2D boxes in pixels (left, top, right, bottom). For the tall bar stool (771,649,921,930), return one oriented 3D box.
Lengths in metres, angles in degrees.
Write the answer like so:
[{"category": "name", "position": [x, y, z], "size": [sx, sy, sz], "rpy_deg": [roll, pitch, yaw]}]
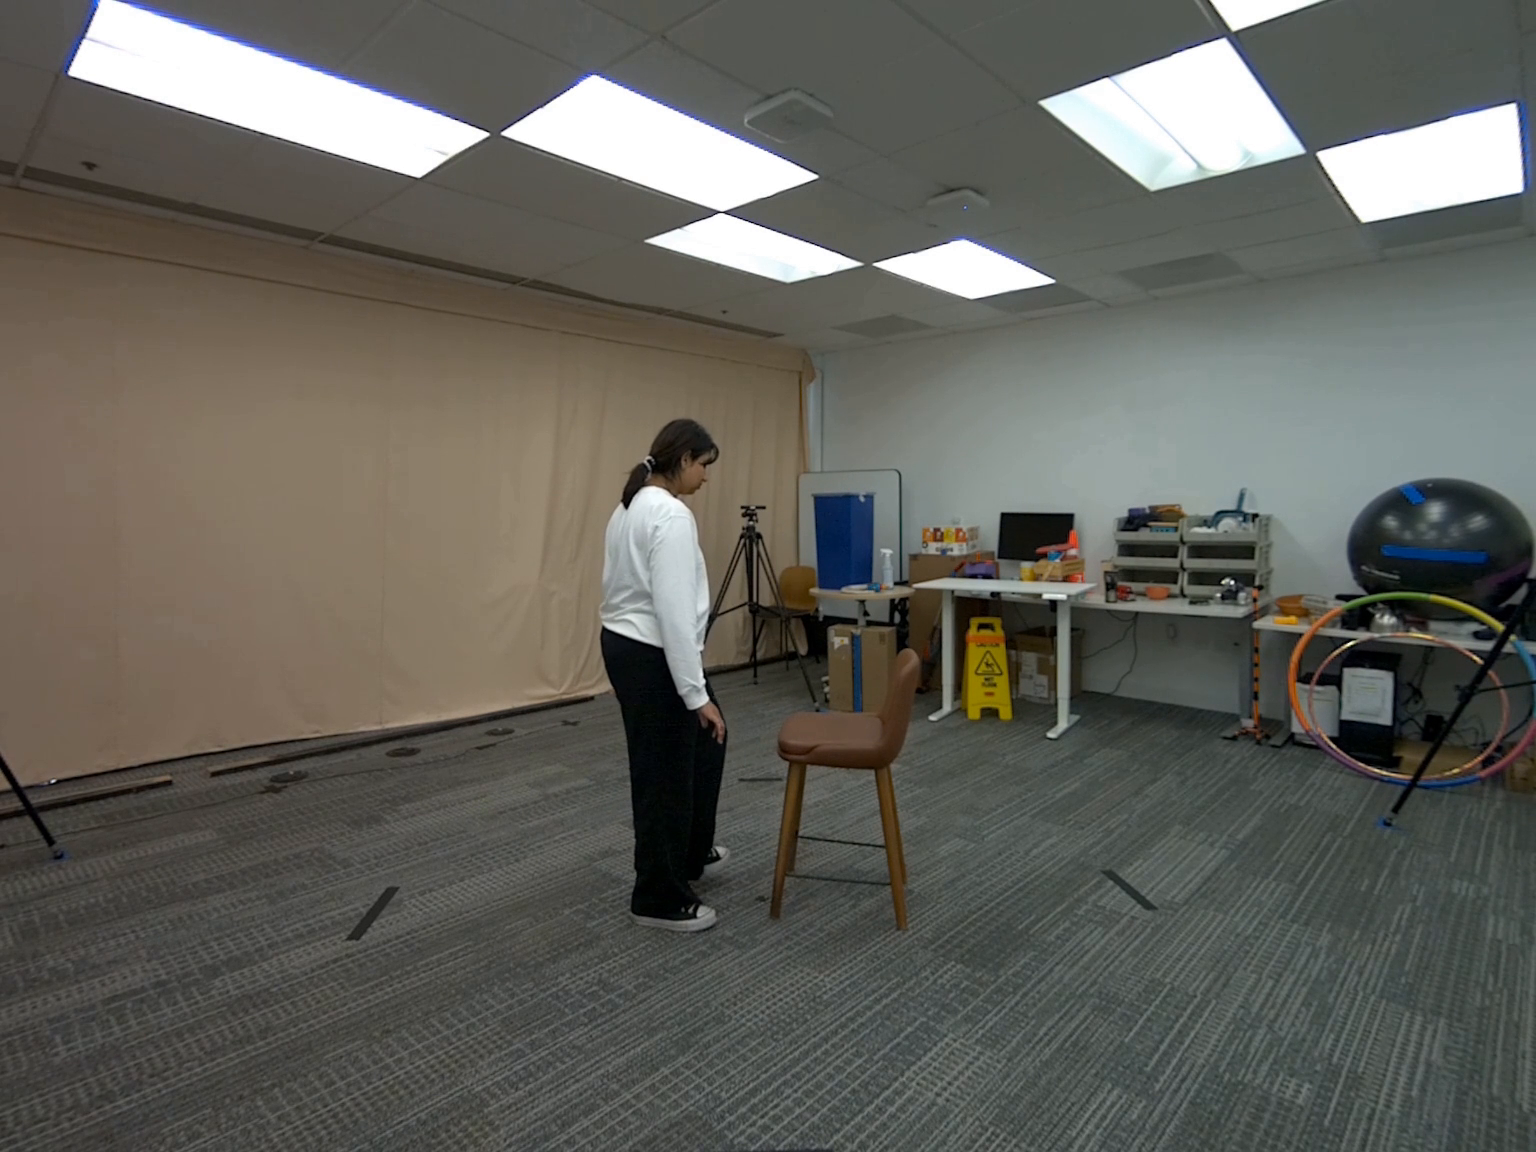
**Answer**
[{"category": "tall bar stool", "position": [0.275, 0.711, 2.956], "size": [0.474, 0.888, 0.451], "rpy_deg": [3, 4, 12]}]
